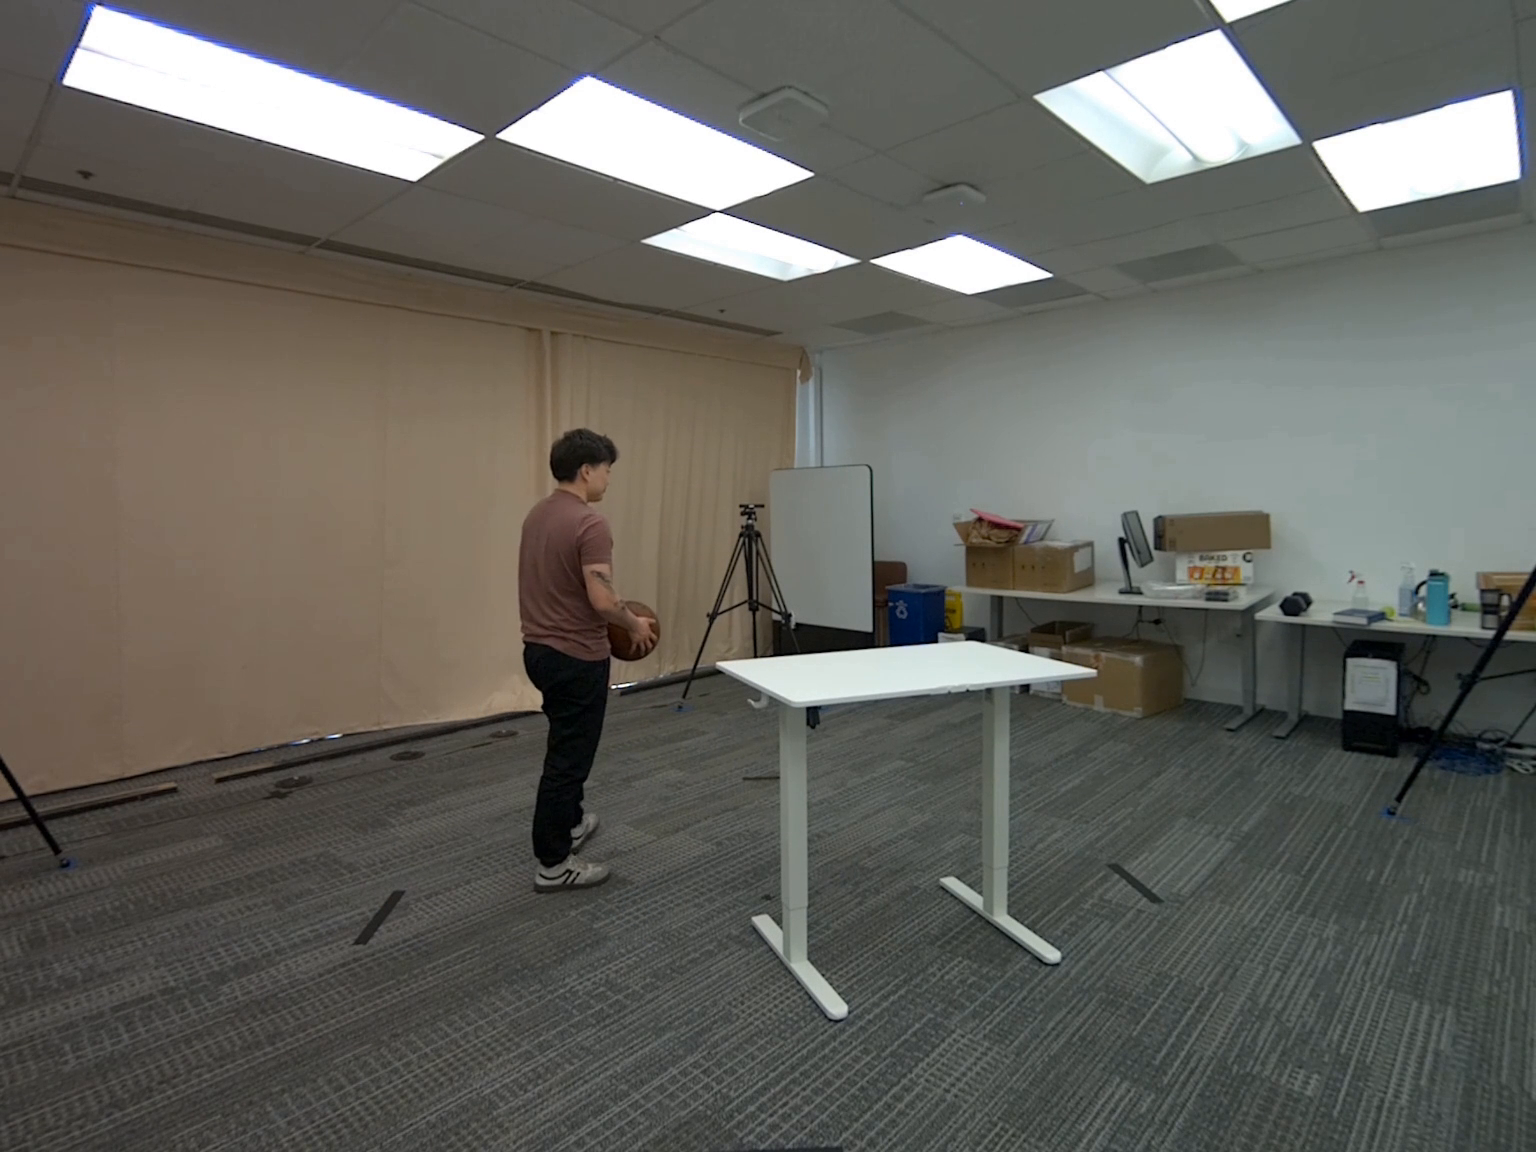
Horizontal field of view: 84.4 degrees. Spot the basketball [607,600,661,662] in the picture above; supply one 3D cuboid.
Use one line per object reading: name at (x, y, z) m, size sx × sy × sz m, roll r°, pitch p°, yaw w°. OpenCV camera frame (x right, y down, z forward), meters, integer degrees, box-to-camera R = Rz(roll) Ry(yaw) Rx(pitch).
basketball at (-0.546, 0.216, 3.287) m, size 0.236 × 0.235 × 0.237 m, roll -1°, pitch 4°, yaw -2°
